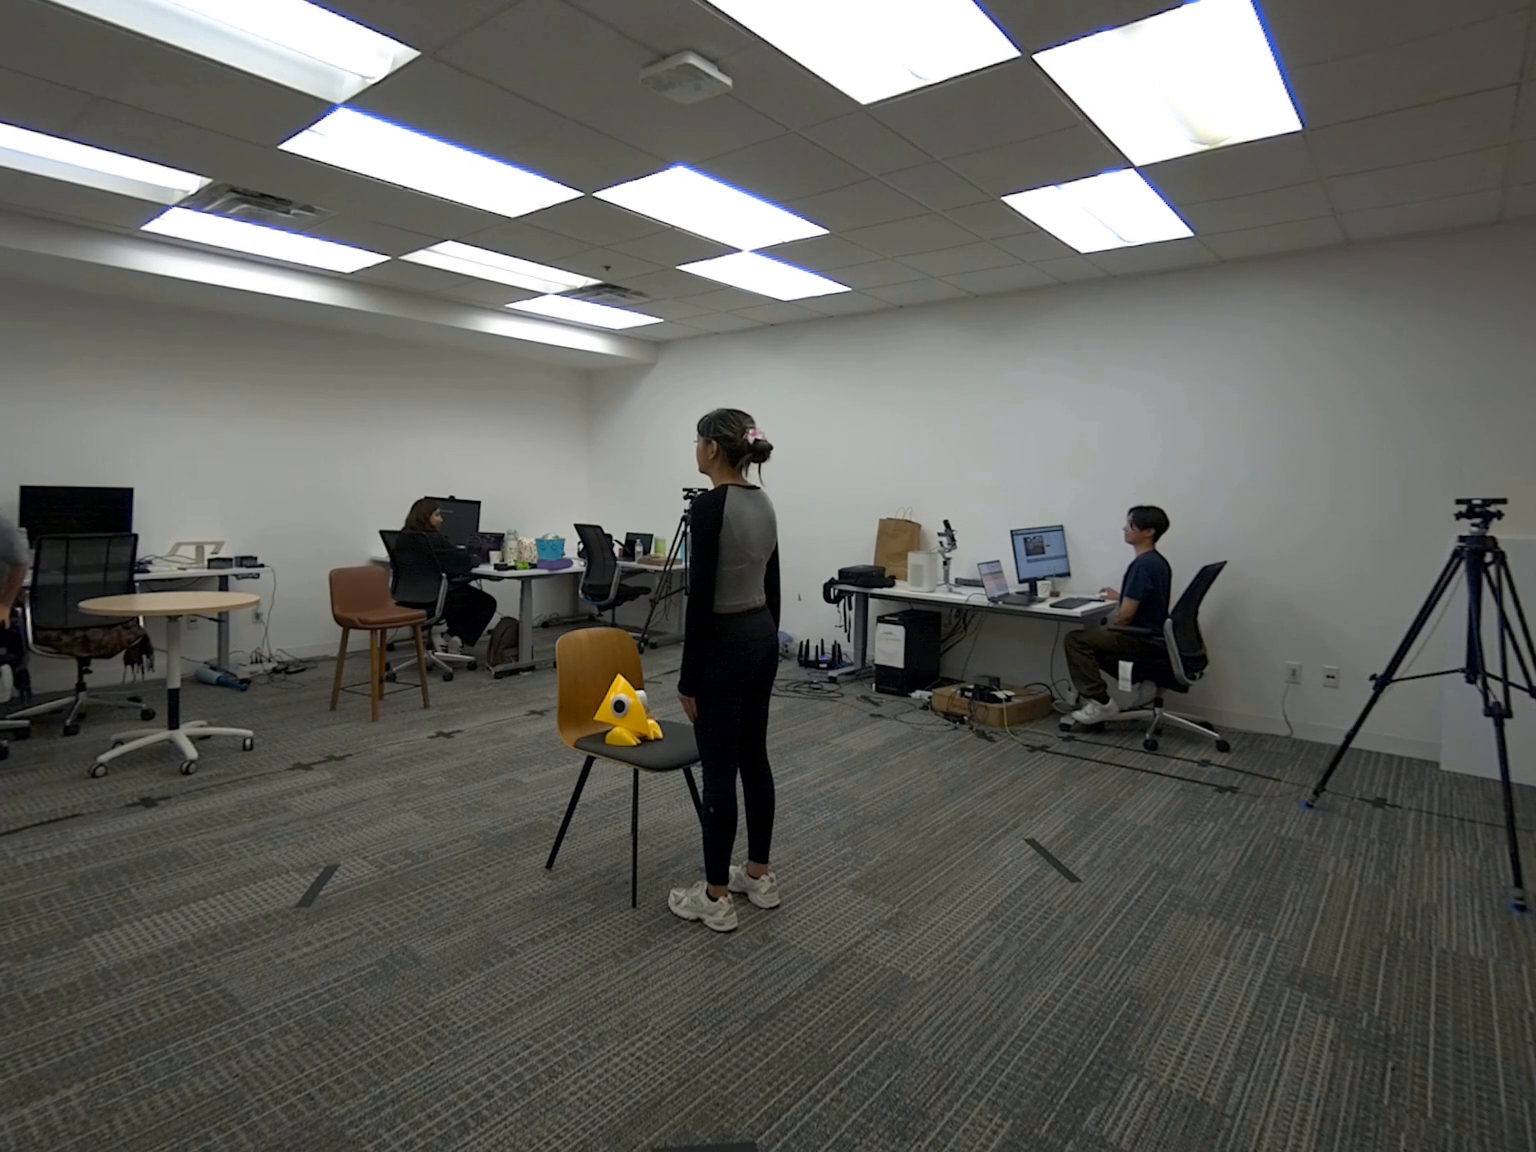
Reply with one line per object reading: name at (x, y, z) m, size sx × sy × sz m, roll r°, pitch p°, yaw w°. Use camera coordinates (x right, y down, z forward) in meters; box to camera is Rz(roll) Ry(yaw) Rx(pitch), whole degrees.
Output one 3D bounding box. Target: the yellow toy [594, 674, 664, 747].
yellow toy at (-0.510, 0.481, 3.086) m, size 0.199 × 0.231 × 0.198 m, roll -2°, pitch 0°, yaw 41°
